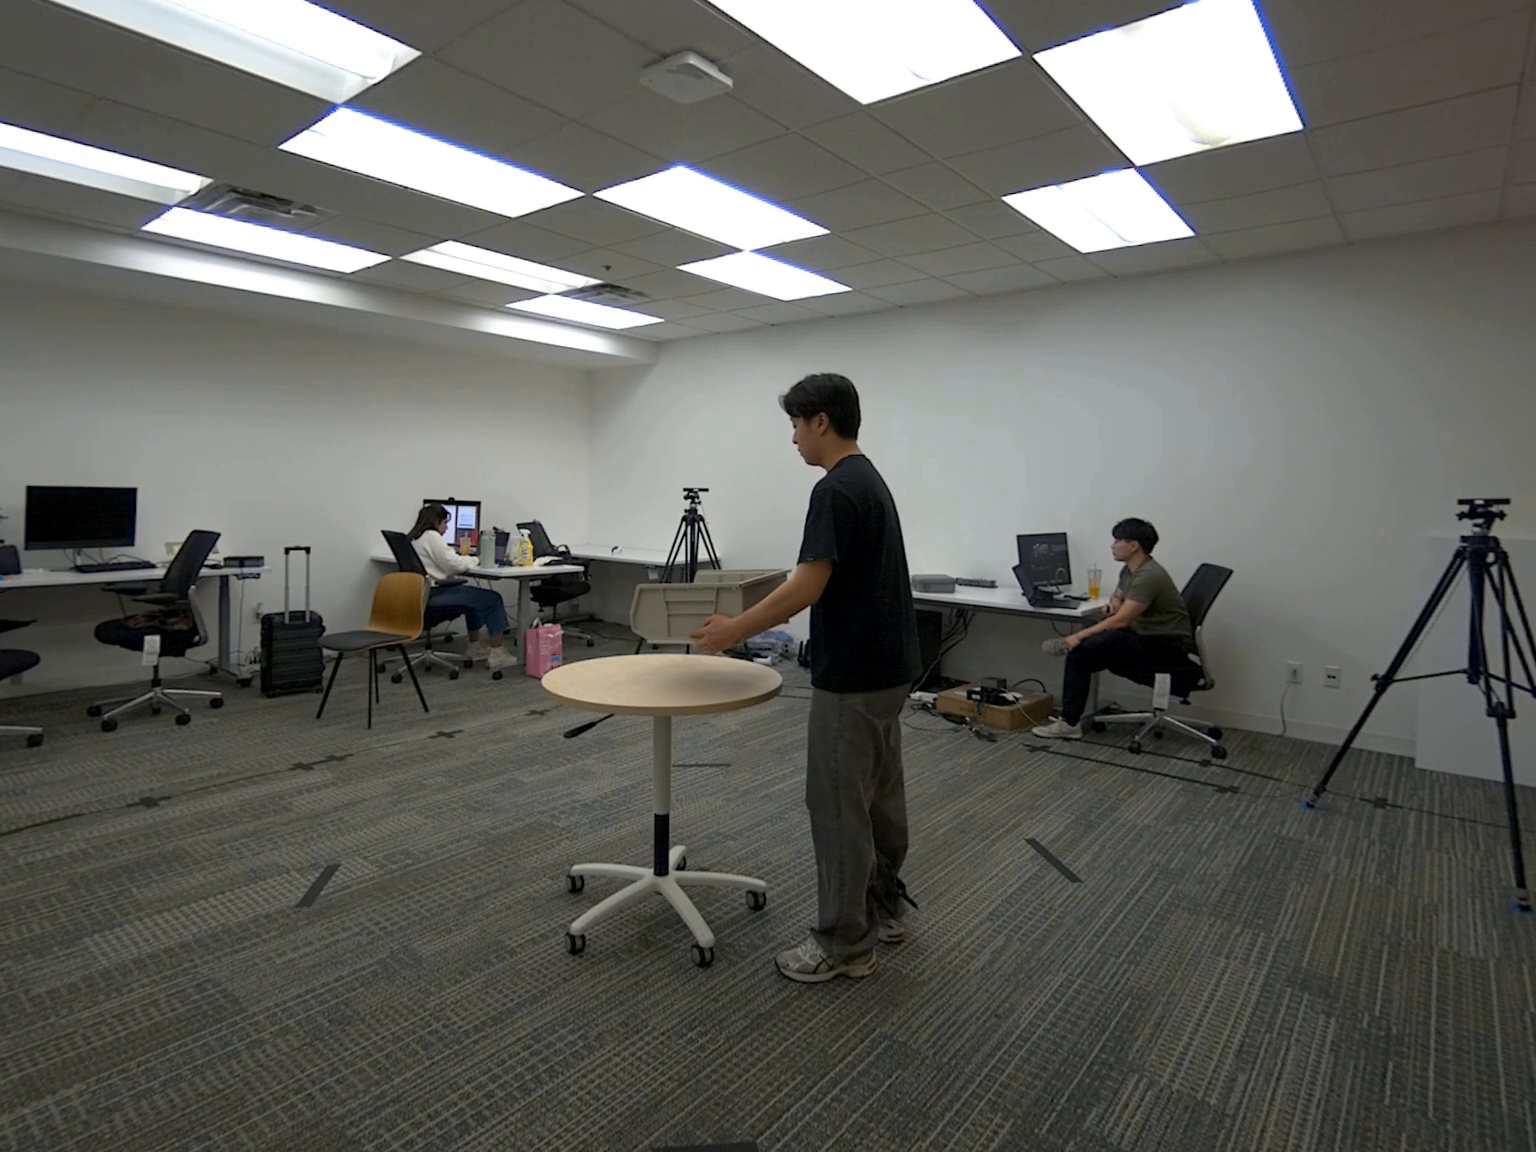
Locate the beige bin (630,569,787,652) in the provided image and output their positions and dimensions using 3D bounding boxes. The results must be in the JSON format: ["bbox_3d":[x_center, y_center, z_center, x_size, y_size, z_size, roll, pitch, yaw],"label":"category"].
[{"bbox_3d":[-0.181,0.090,2.691,0.386,0.188,0.414,0,5,24],"label":"beige bin"}]
